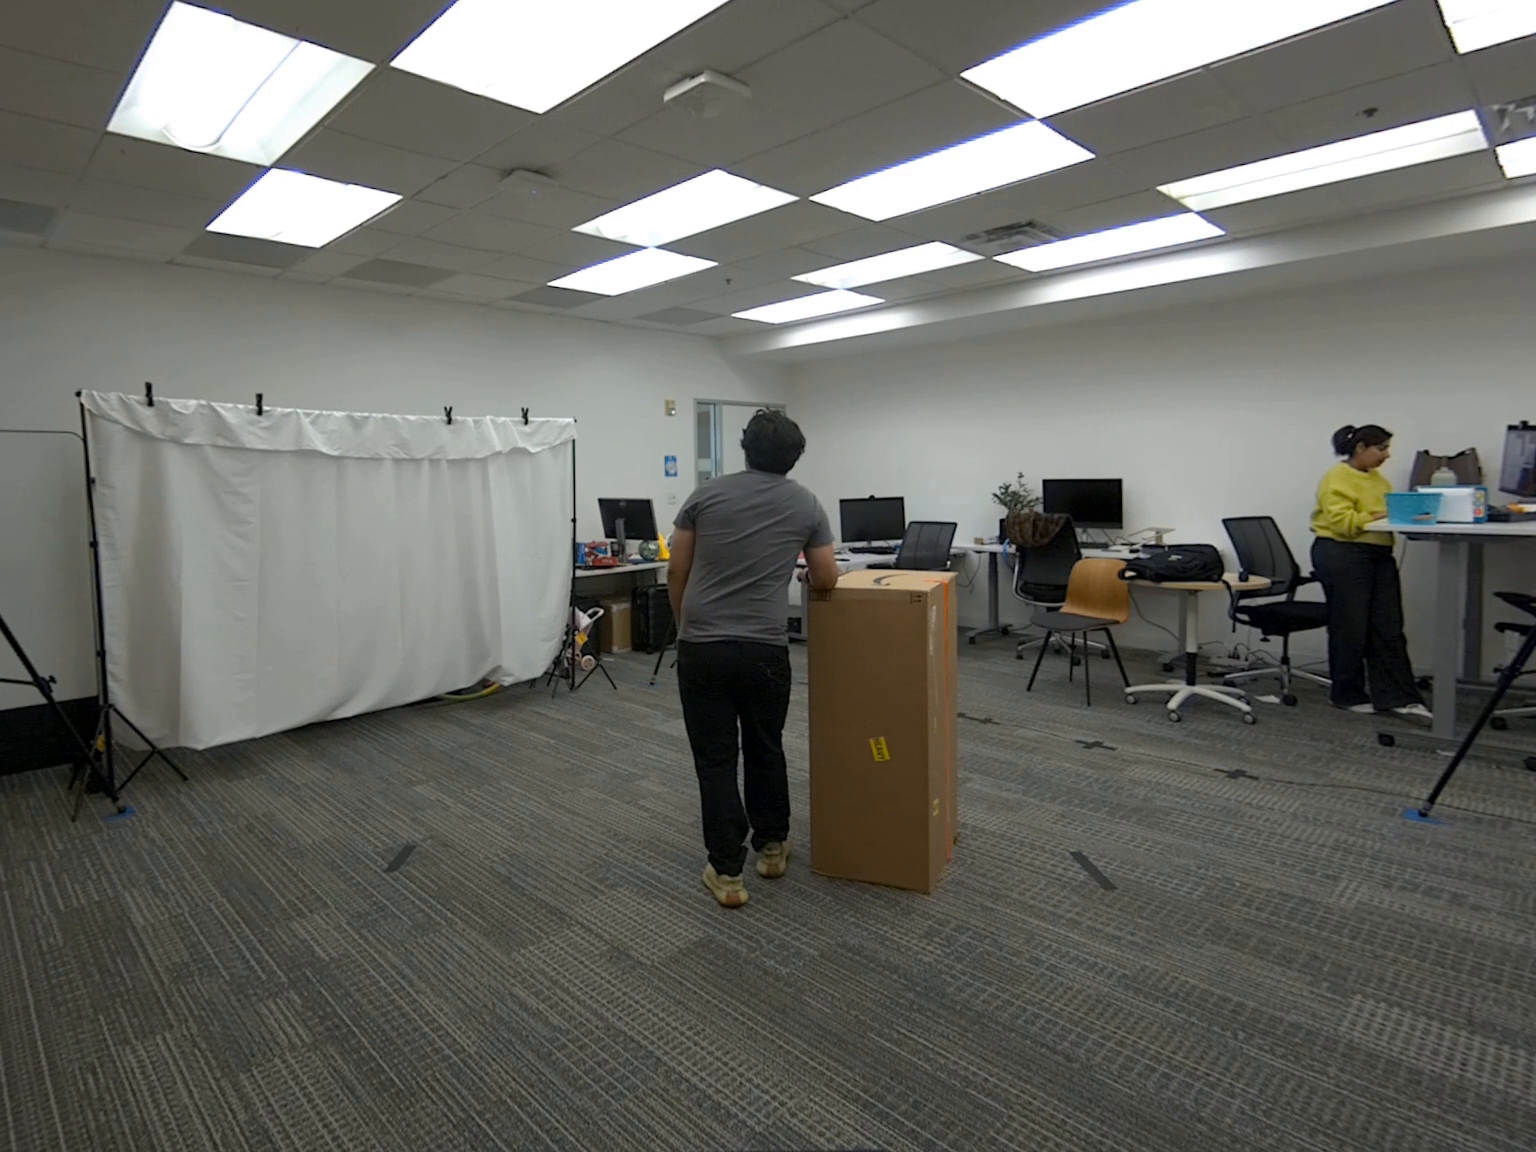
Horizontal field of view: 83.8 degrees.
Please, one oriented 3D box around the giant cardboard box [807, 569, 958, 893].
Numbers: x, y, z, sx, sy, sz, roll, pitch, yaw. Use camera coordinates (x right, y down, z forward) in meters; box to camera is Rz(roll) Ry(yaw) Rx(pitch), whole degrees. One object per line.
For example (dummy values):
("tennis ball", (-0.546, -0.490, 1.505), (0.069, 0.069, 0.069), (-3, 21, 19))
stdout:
("giant cardboard box", (0.445, 0.519, 3.166), (0.436, 1.022, 0.567), (0, 4, 24))
